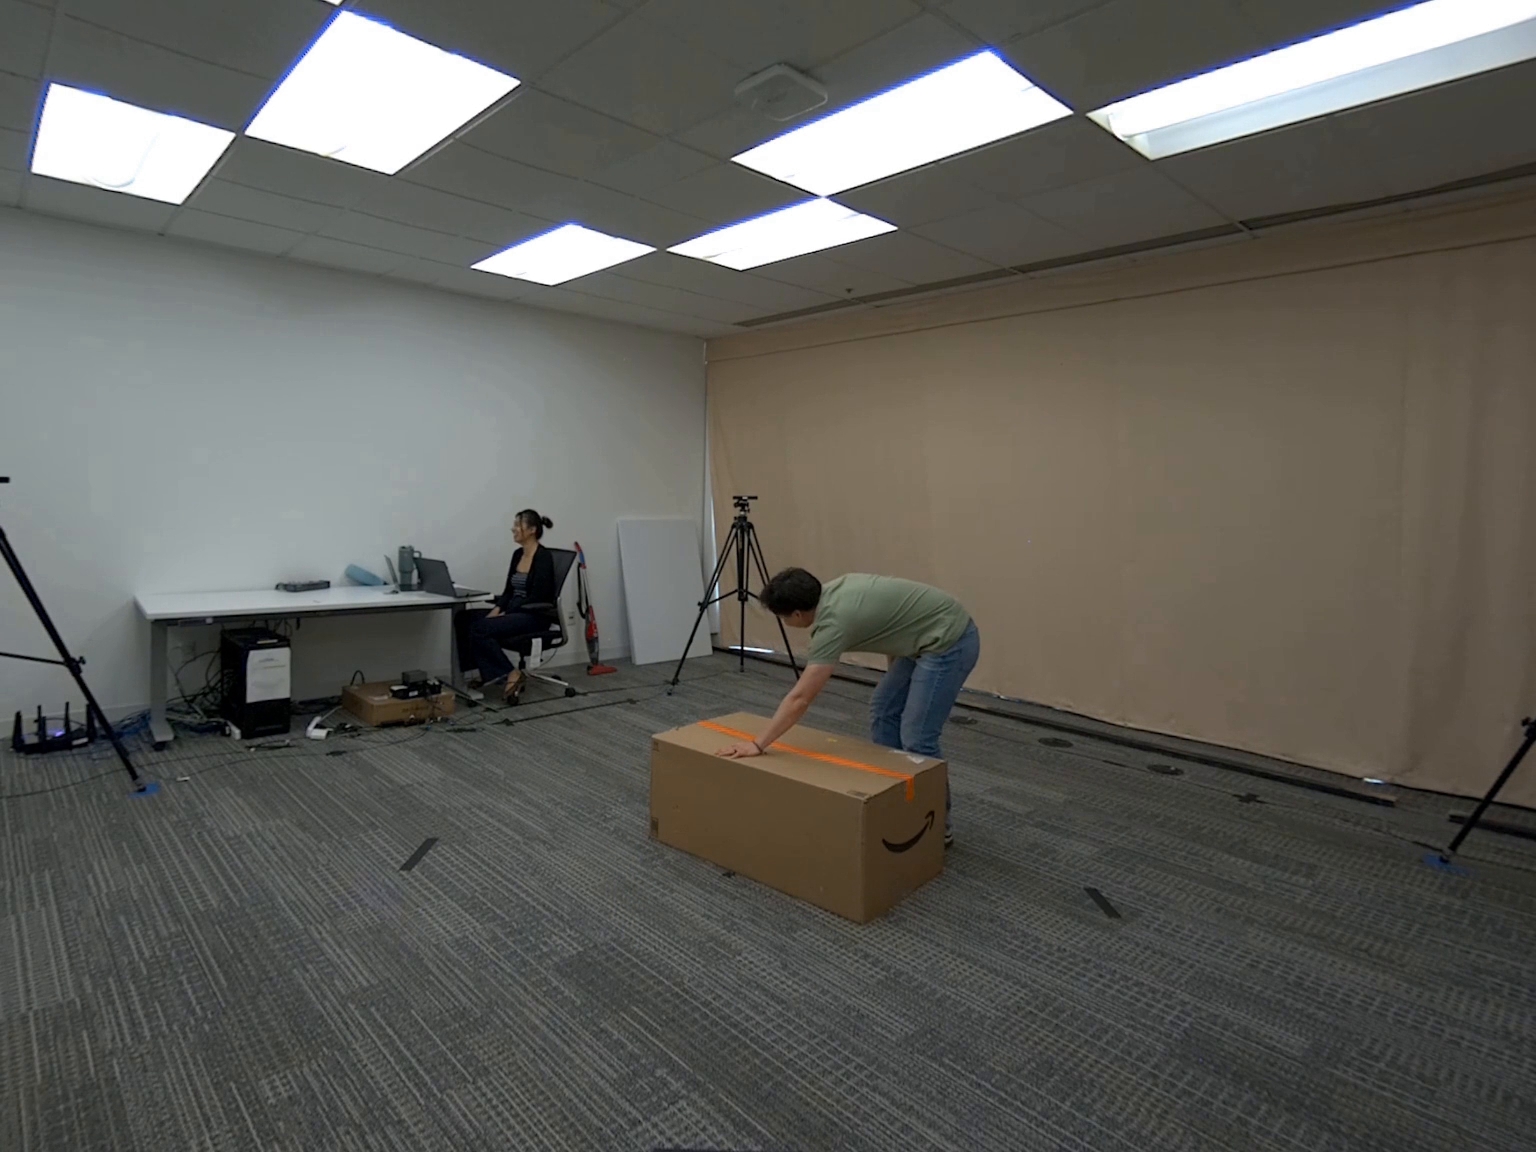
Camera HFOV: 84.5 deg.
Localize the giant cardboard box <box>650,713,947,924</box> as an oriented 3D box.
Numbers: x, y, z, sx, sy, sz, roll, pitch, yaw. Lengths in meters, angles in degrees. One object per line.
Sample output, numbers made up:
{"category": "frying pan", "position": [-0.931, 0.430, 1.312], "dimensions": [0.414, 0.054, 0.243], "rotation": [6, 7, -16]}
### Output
{"category": "giant cardboard box", "position": [0.087, 0.881, 3.282], "dimensions": [1.052, 0.425, 0.564], "rotation": [5, 5, 40]}
